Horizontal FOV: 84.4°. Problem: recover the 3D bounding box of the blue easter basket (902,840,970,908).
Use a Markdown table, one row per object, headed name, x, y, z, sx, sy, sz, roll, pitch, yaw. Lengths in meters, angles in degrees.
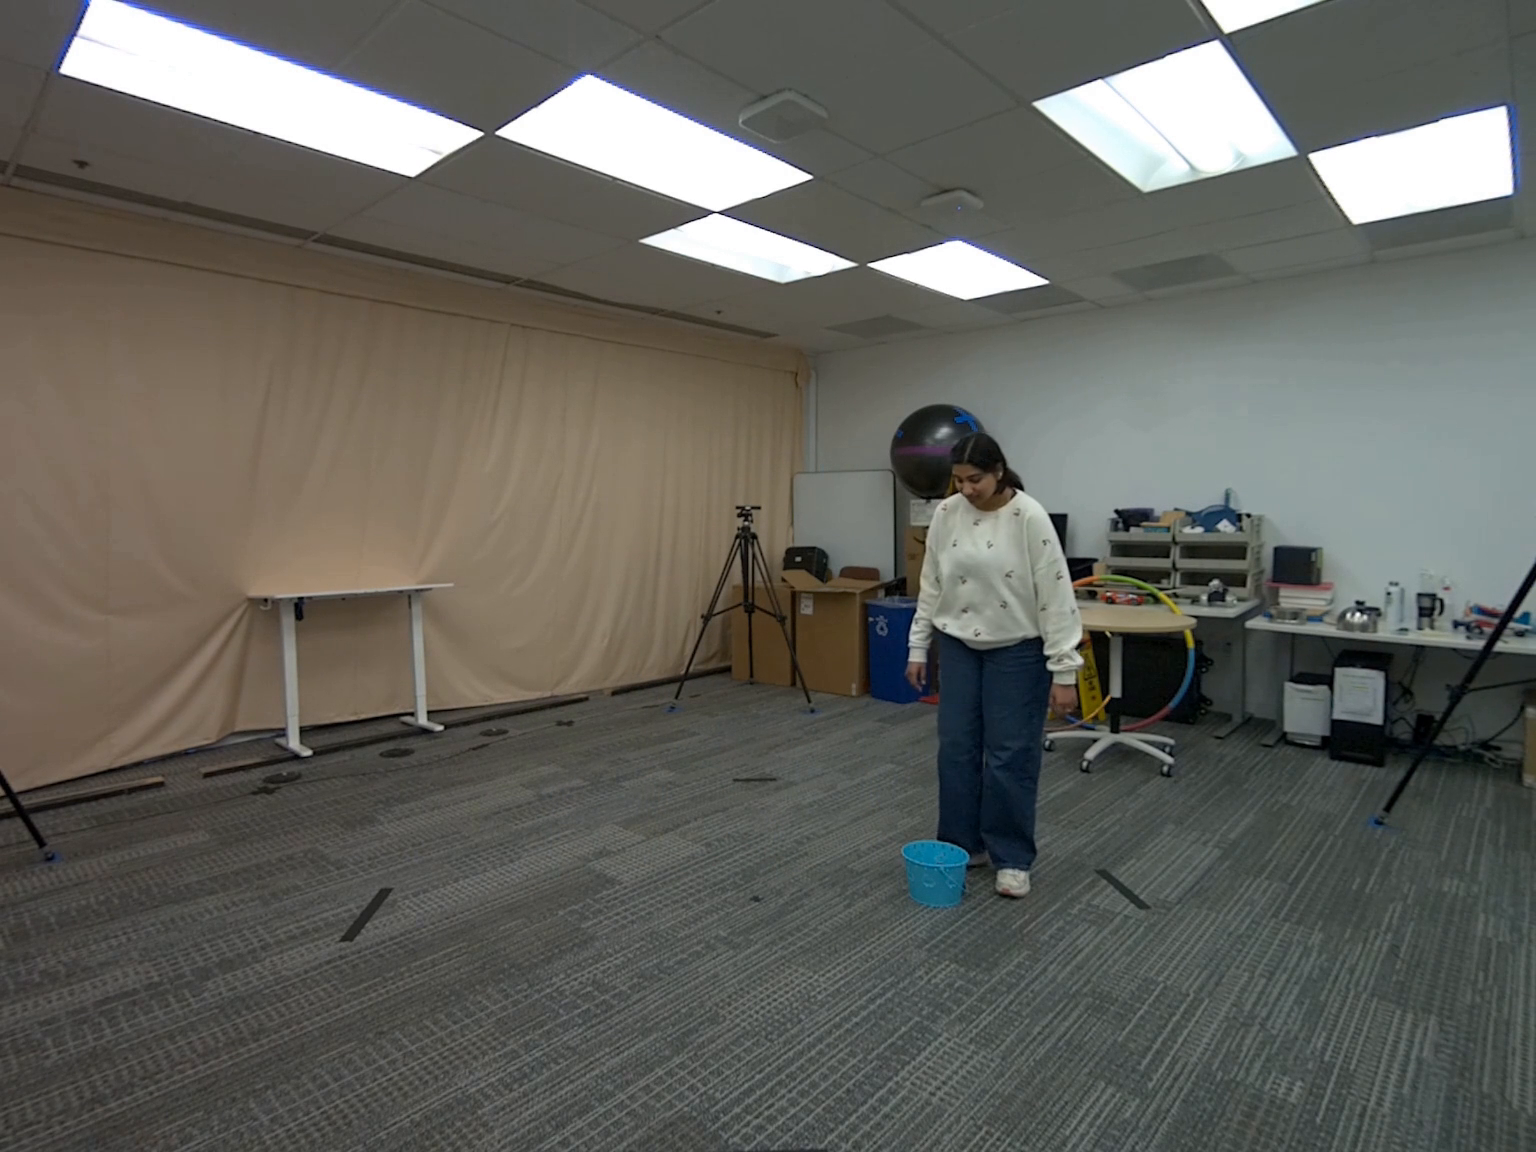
| name | x | y | z | sx | sy | sz | roll | pitch | yaw |
| --- | --- | --- | --- | --- | --- | --- | --- | --- | --- |
| blue easter basket | 0.596 | 1.061 | 3.000 | 0.243 | 0.155 | 0.244 | -1 | 4 | -2 |
